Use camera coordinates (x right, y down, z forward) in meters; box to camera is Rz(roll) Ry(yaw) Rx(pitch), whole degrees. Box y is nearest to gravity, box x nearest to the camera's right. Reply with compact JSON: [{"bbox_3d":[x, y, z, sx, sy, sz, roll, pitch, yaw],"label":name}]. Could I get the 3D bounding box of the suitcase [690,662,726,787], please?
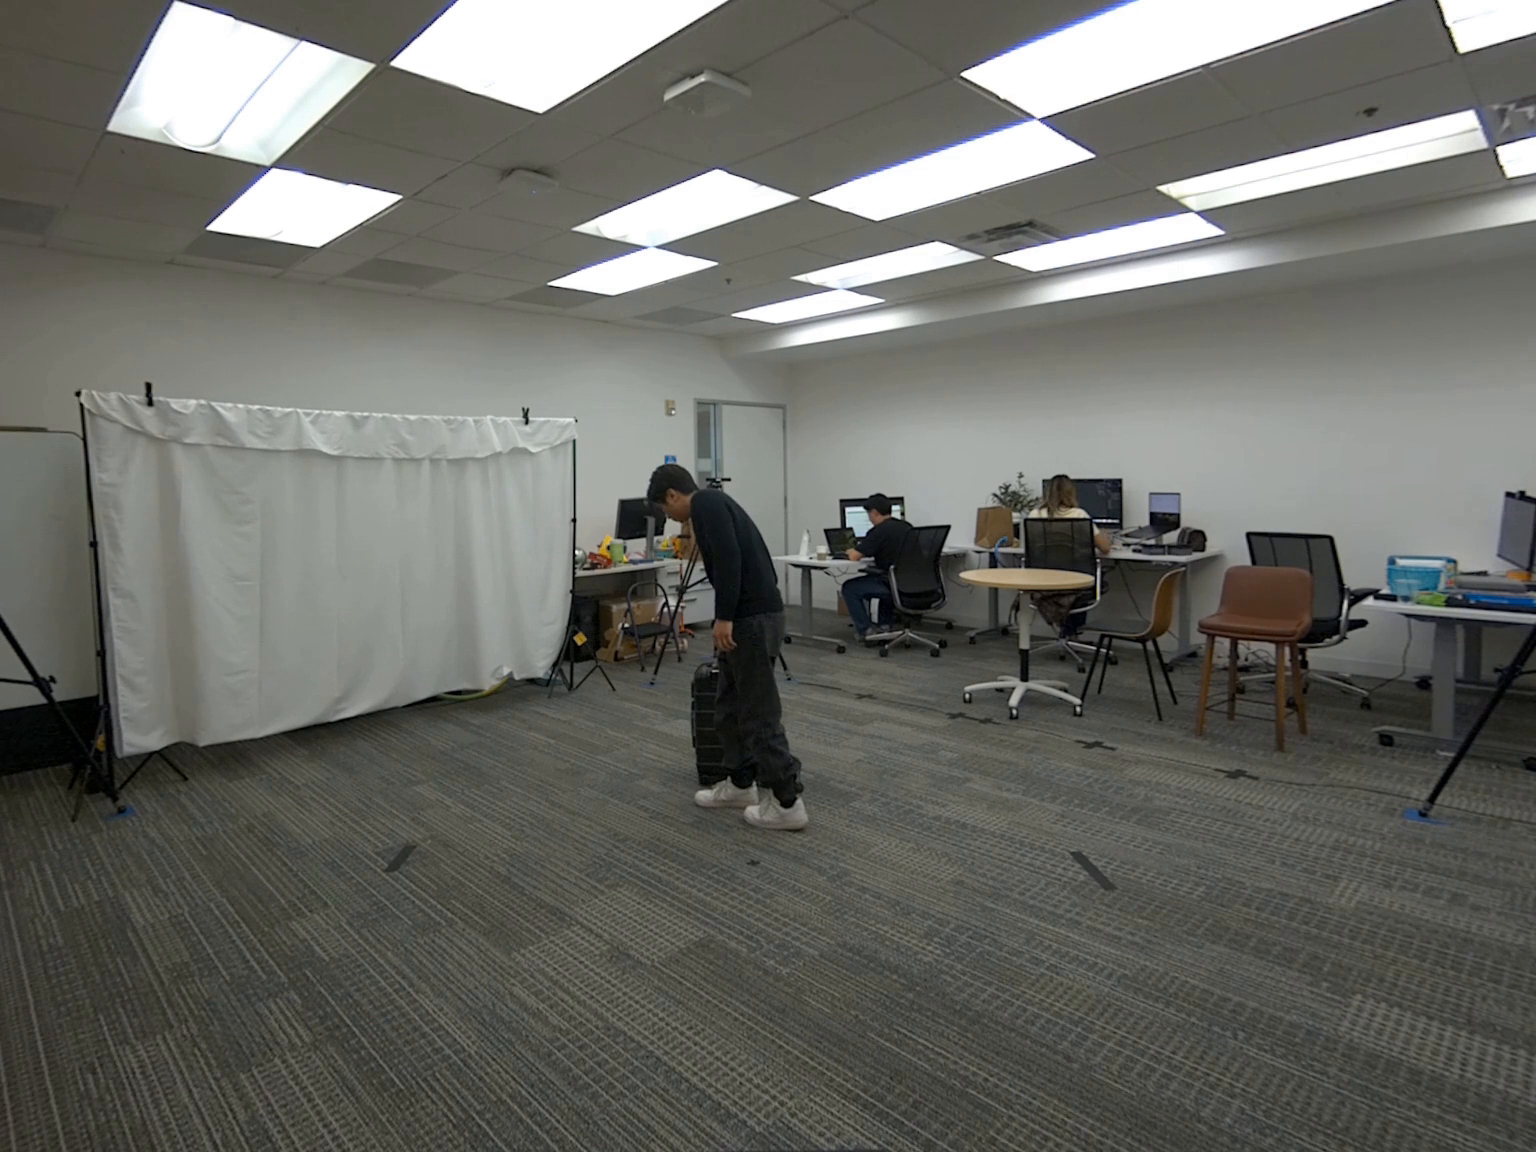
[{"bbox_3d":[-0.160,0.668,3.985,0.378,0.548,0.247,-2,3,8],"label":"suitcase"}]
